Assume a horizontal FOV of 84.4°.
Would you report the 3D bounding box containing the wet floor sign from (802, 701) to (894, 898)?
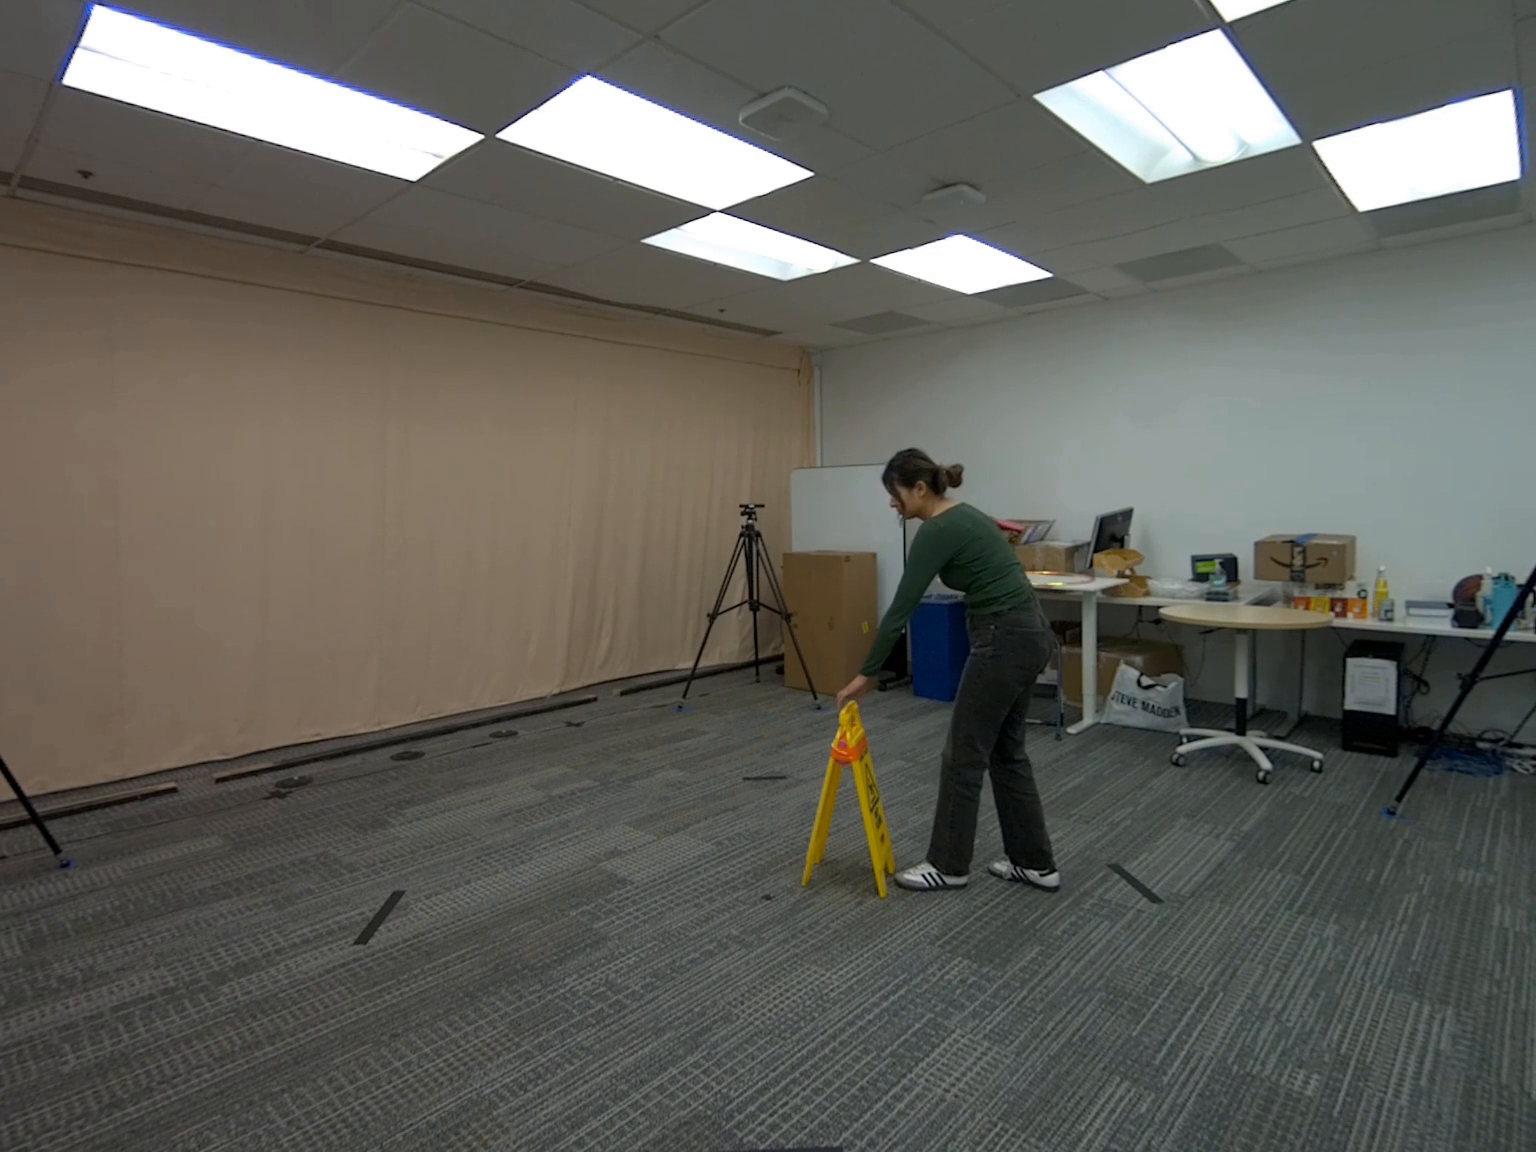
[{"bbox_3d":[0.301,0.801,3.118,0.296,0.645,0.277,0,2,19],"label":"wet floor sign"}]
